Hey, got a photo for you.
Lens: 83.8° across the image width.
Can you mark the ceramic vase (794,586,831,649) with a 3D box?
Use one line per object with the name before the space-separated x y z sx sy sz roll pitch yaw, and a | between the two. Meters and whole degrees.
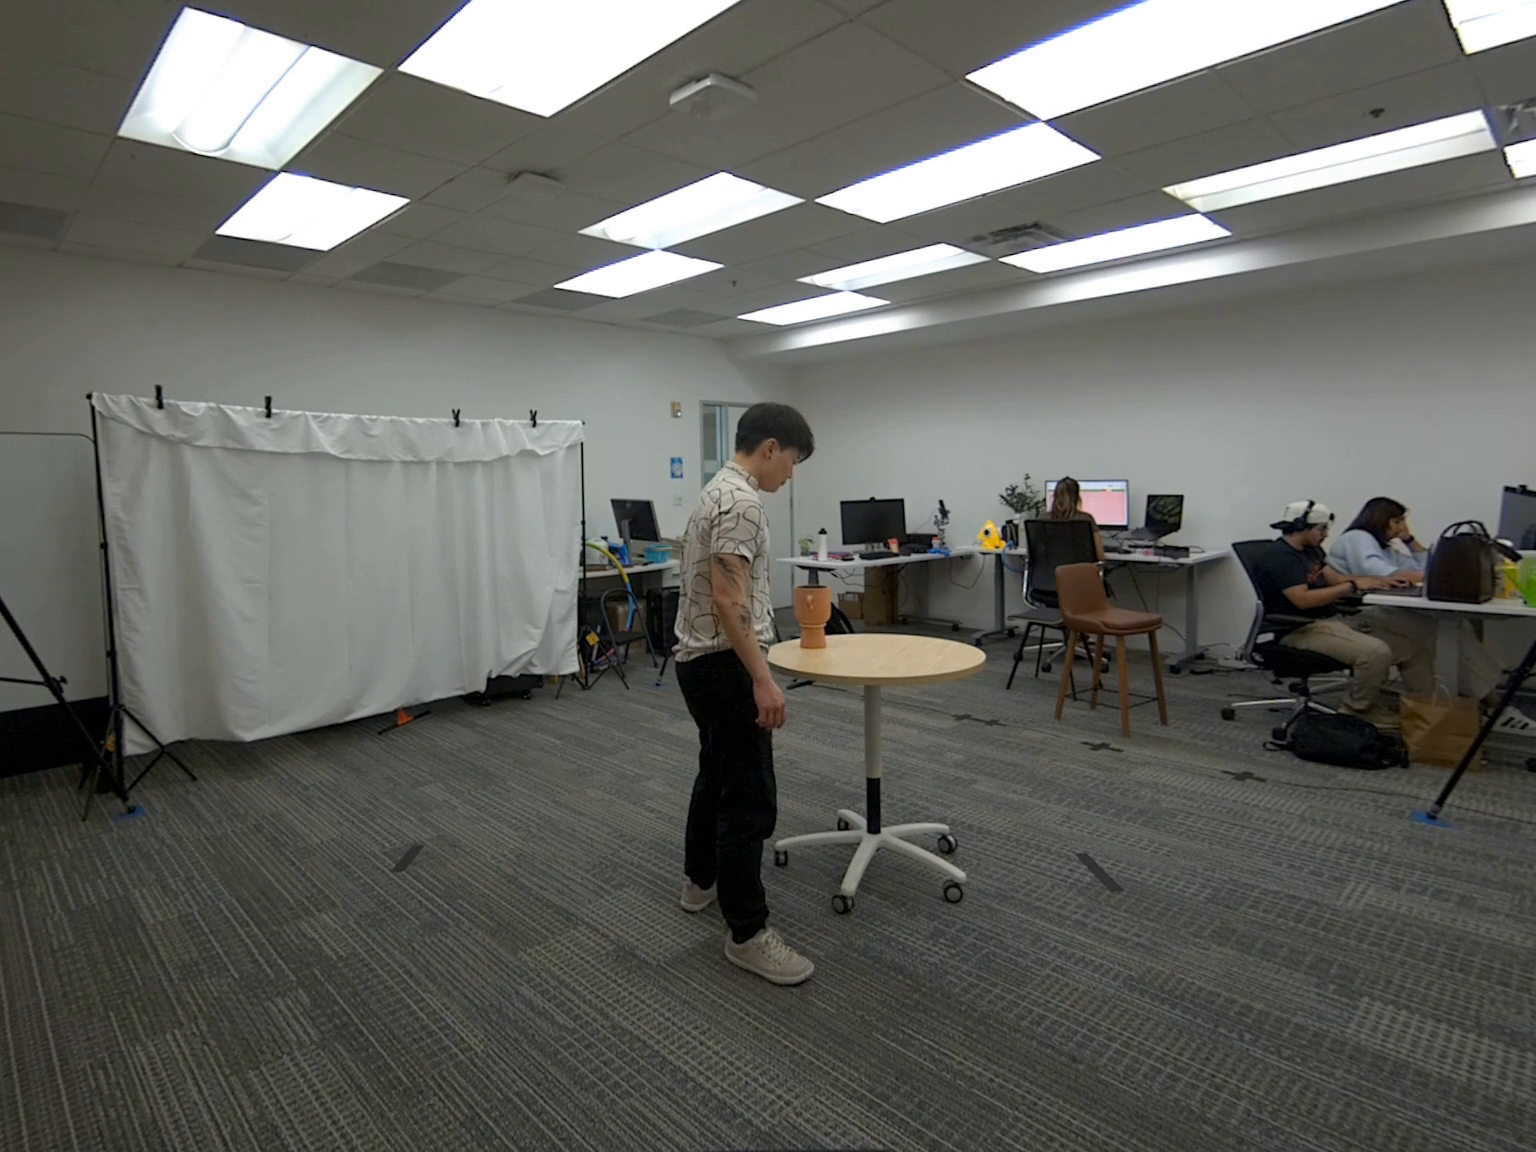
ceramic vase | 0.167 0.150 3.141 0.155 0.219 0.138 -4 4 -38
